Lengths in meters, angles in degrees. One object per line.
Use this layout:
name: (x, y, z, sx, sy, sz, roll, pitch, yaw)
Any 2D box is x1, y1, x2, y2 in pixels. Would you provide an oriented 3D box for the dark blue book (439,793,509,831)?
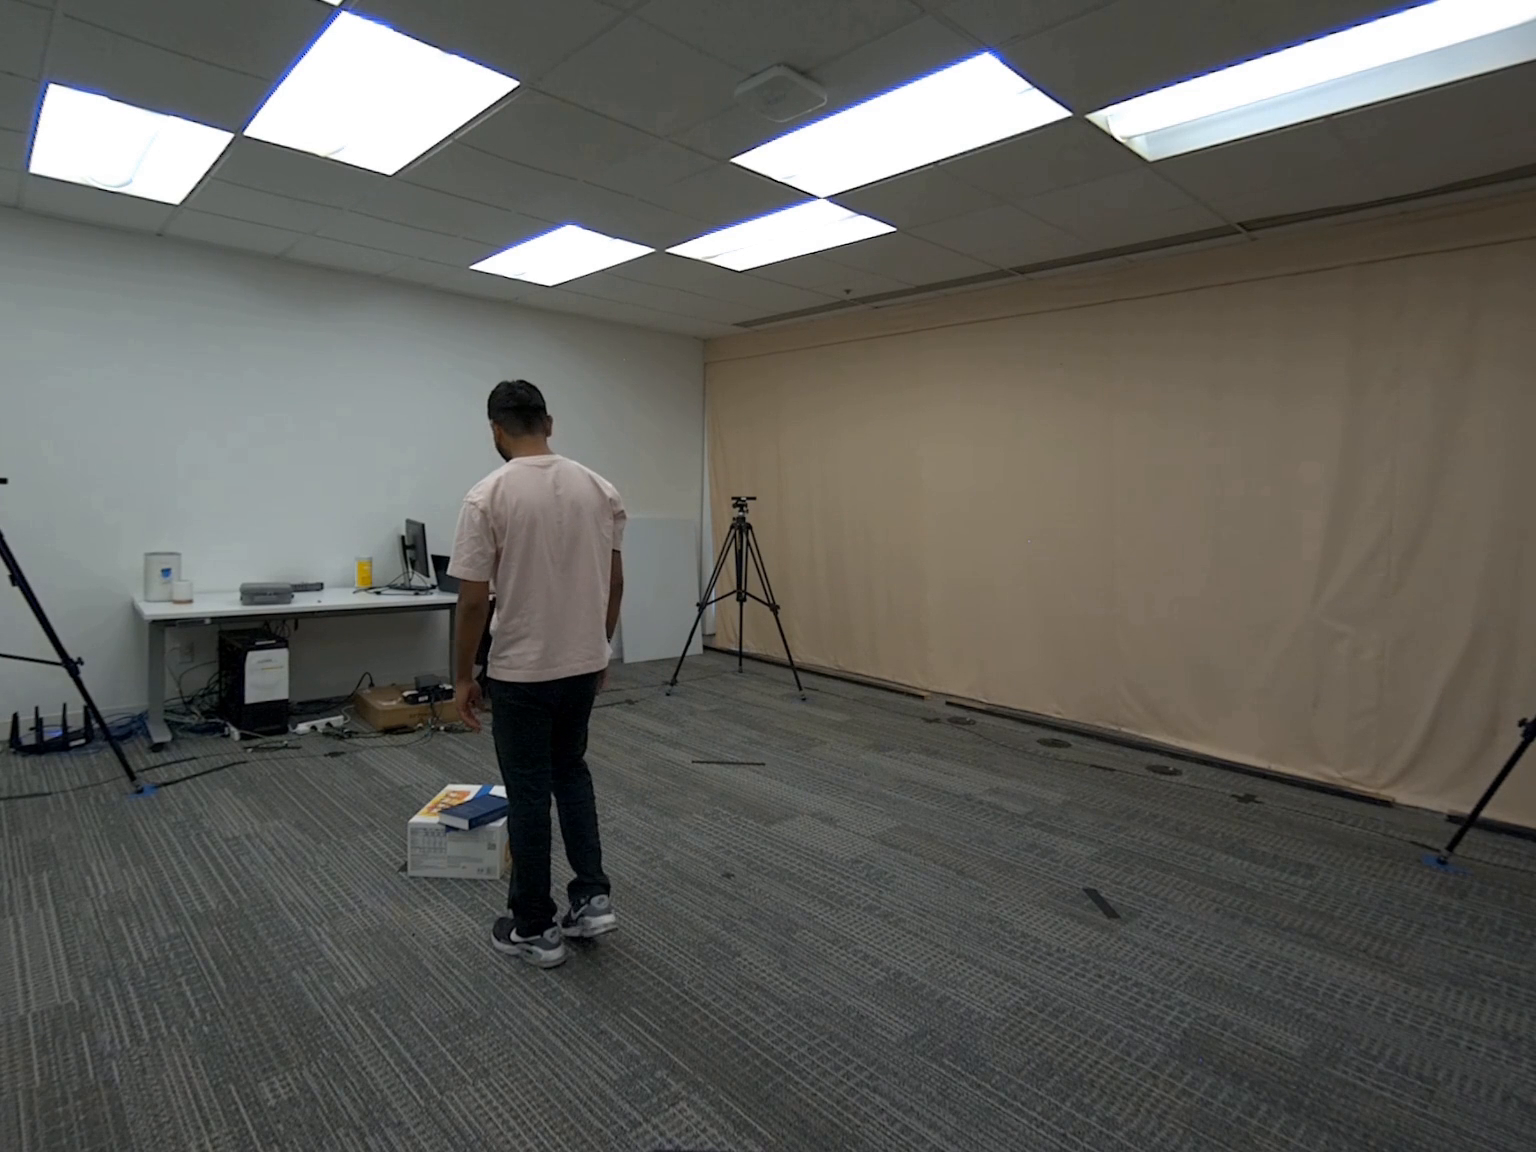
dark blue book: (-1.072, 0.865, 3.084, 0.167, 0.045, 0.240, 1, 4, 28)
